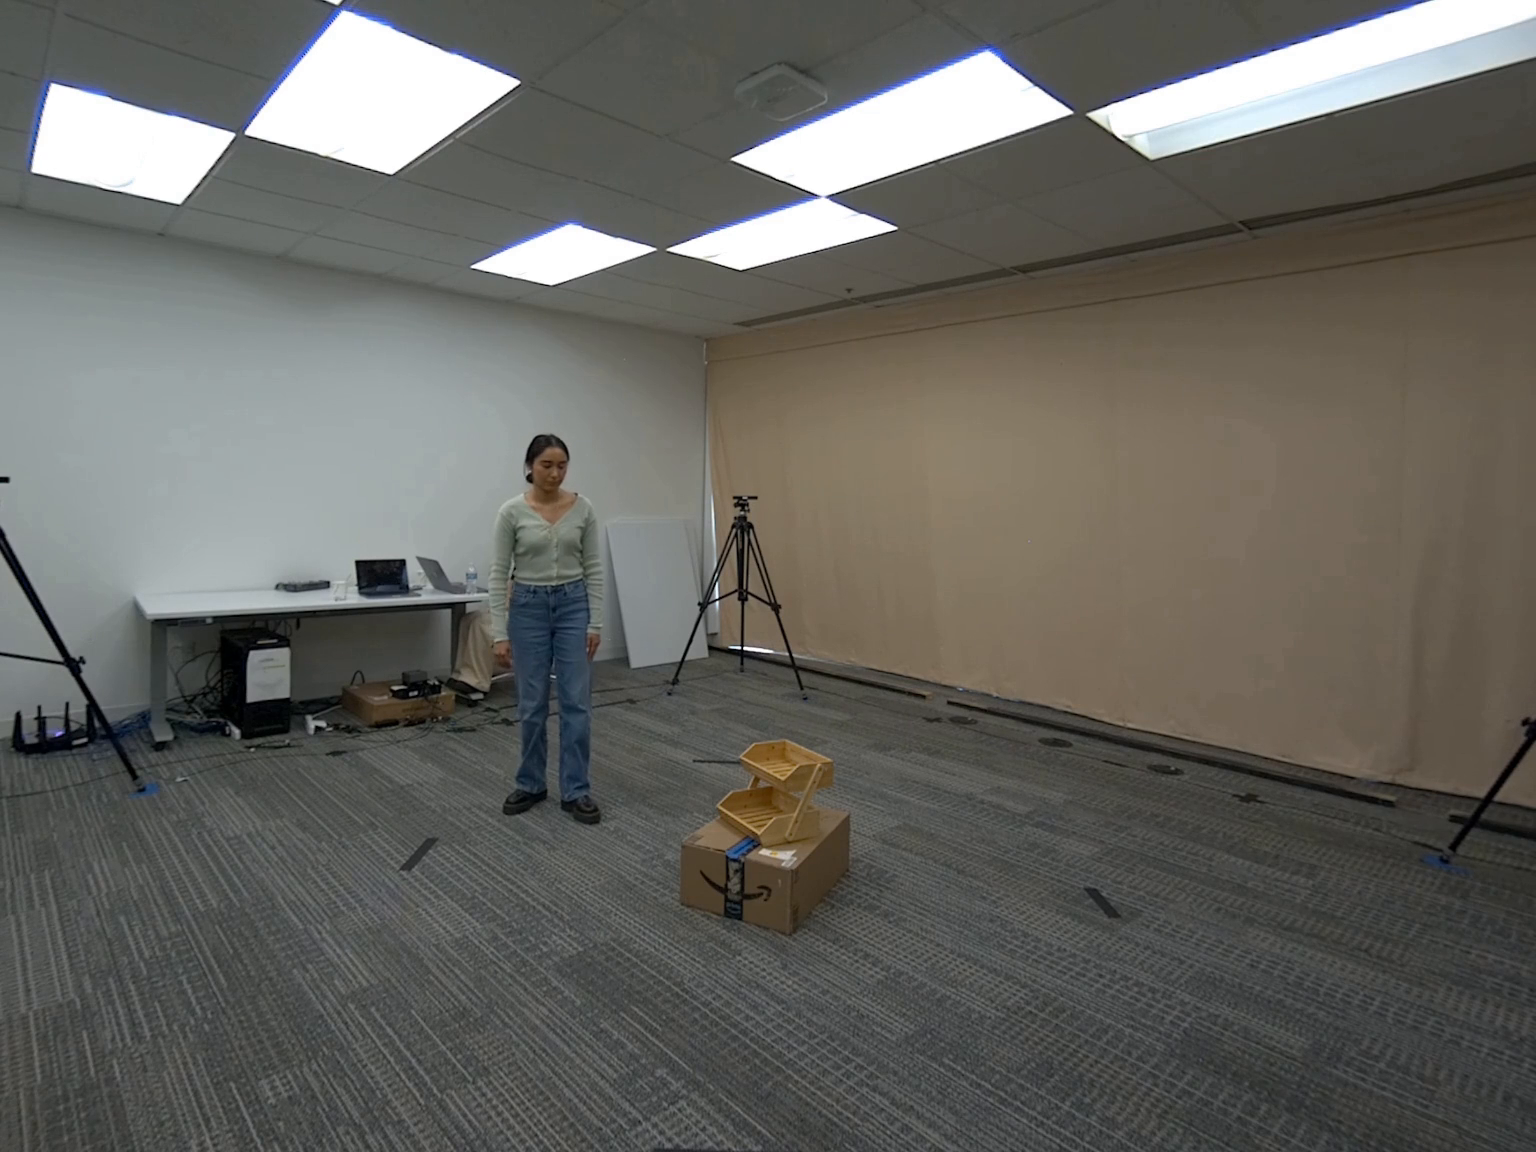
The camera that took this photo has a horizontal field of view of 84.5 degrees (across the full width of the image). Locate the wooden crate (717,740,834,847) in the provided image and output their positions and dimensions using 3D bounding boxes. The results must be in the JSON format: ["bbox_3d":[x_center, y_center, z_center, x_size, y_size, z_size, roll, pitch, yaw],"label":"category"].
[{"bbox_3d":[0.015,0.767,3.023,0.295,0.273,0.332,0,4,-32],"label":"wooden crate"}]
